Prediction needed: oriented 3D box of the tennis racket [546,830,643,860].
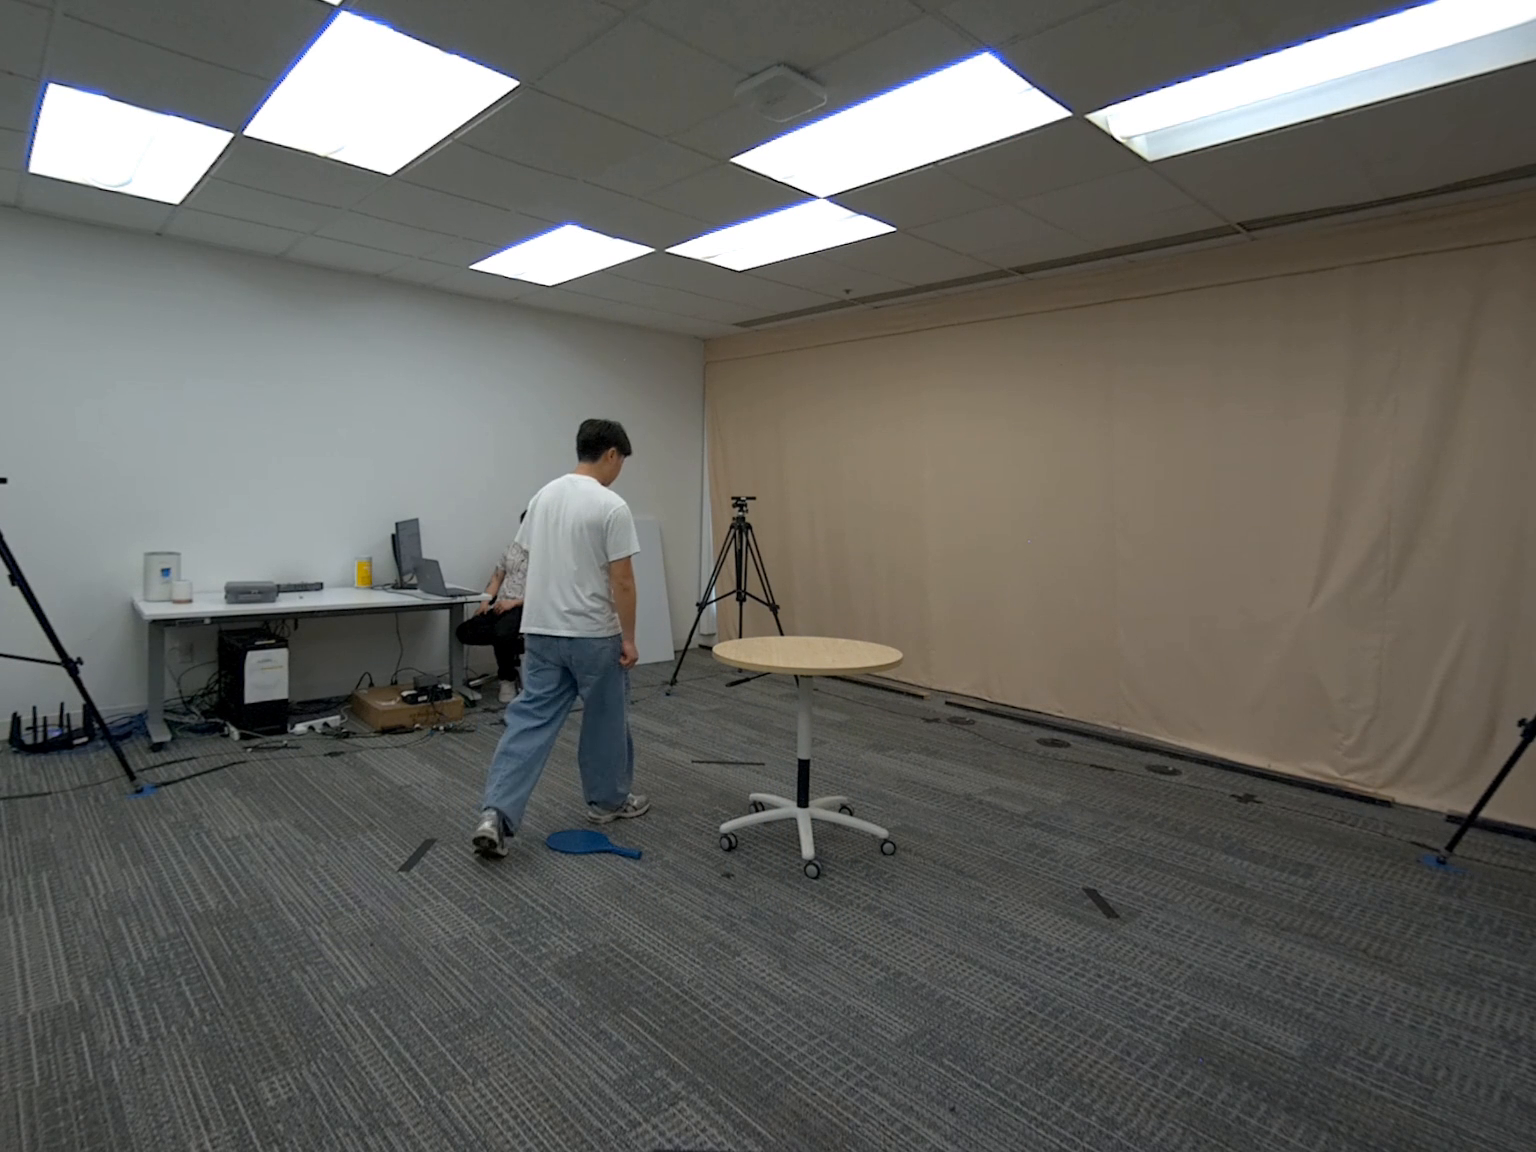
[{"bbox_3d":[-0.693,1.057,3.324,0.441,0.031,0.210,2,5,27],"label":"tennis racket"}]
